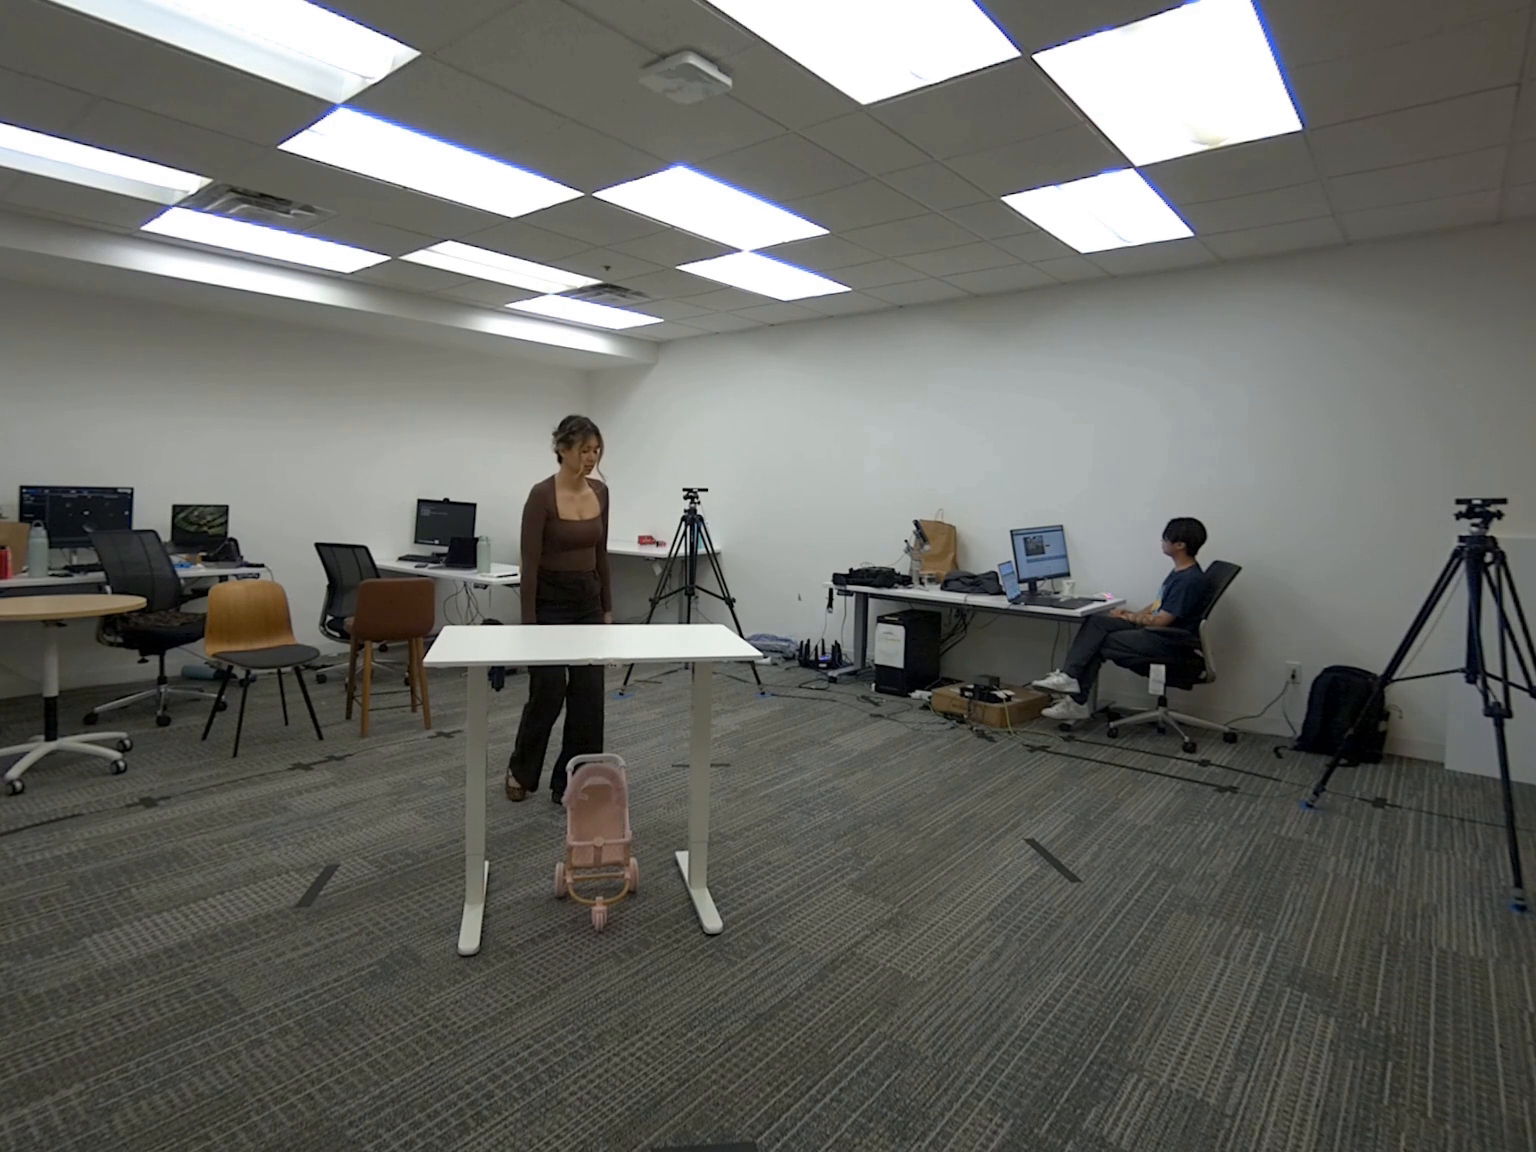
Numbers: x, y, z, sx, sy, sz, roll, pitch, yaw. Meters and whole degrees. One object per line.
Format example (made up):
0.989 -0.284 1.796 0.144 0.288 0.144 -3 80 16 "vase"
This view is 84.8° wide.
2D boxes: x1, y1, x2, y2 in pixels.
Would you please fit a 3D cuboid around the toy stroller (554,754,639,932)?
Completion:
-0.583 0.865 2.836 0.279 0.542 0.340 0 -12 -9 "toy stroller"
